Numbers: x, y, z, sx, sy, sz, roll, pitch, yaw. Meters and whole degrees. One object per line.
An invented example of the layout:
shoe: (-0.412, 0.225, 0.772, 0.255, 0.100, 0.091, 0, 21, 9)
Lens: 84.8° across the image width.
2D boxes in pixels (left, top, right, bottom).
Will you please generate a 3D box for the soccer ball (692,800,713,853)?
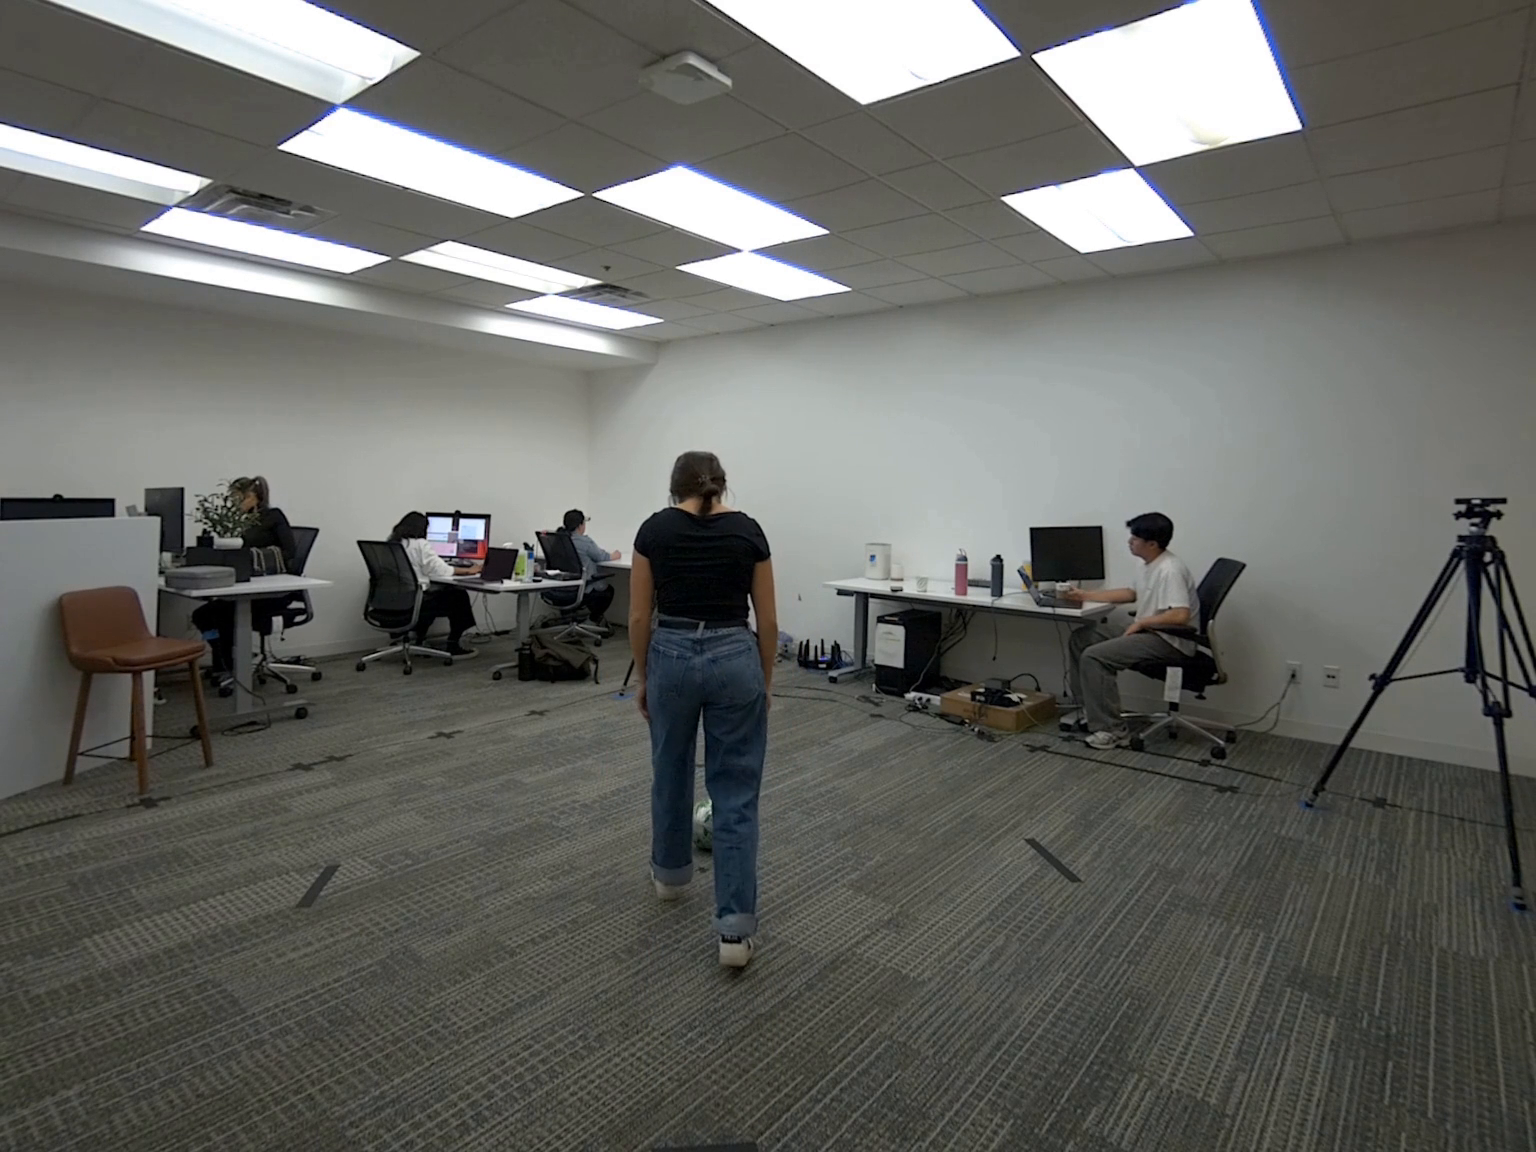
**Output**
soccer ball: (-0.218, 0.948, 3.294, 0.187, 0.187, 0.188, 1, 4, -2)
